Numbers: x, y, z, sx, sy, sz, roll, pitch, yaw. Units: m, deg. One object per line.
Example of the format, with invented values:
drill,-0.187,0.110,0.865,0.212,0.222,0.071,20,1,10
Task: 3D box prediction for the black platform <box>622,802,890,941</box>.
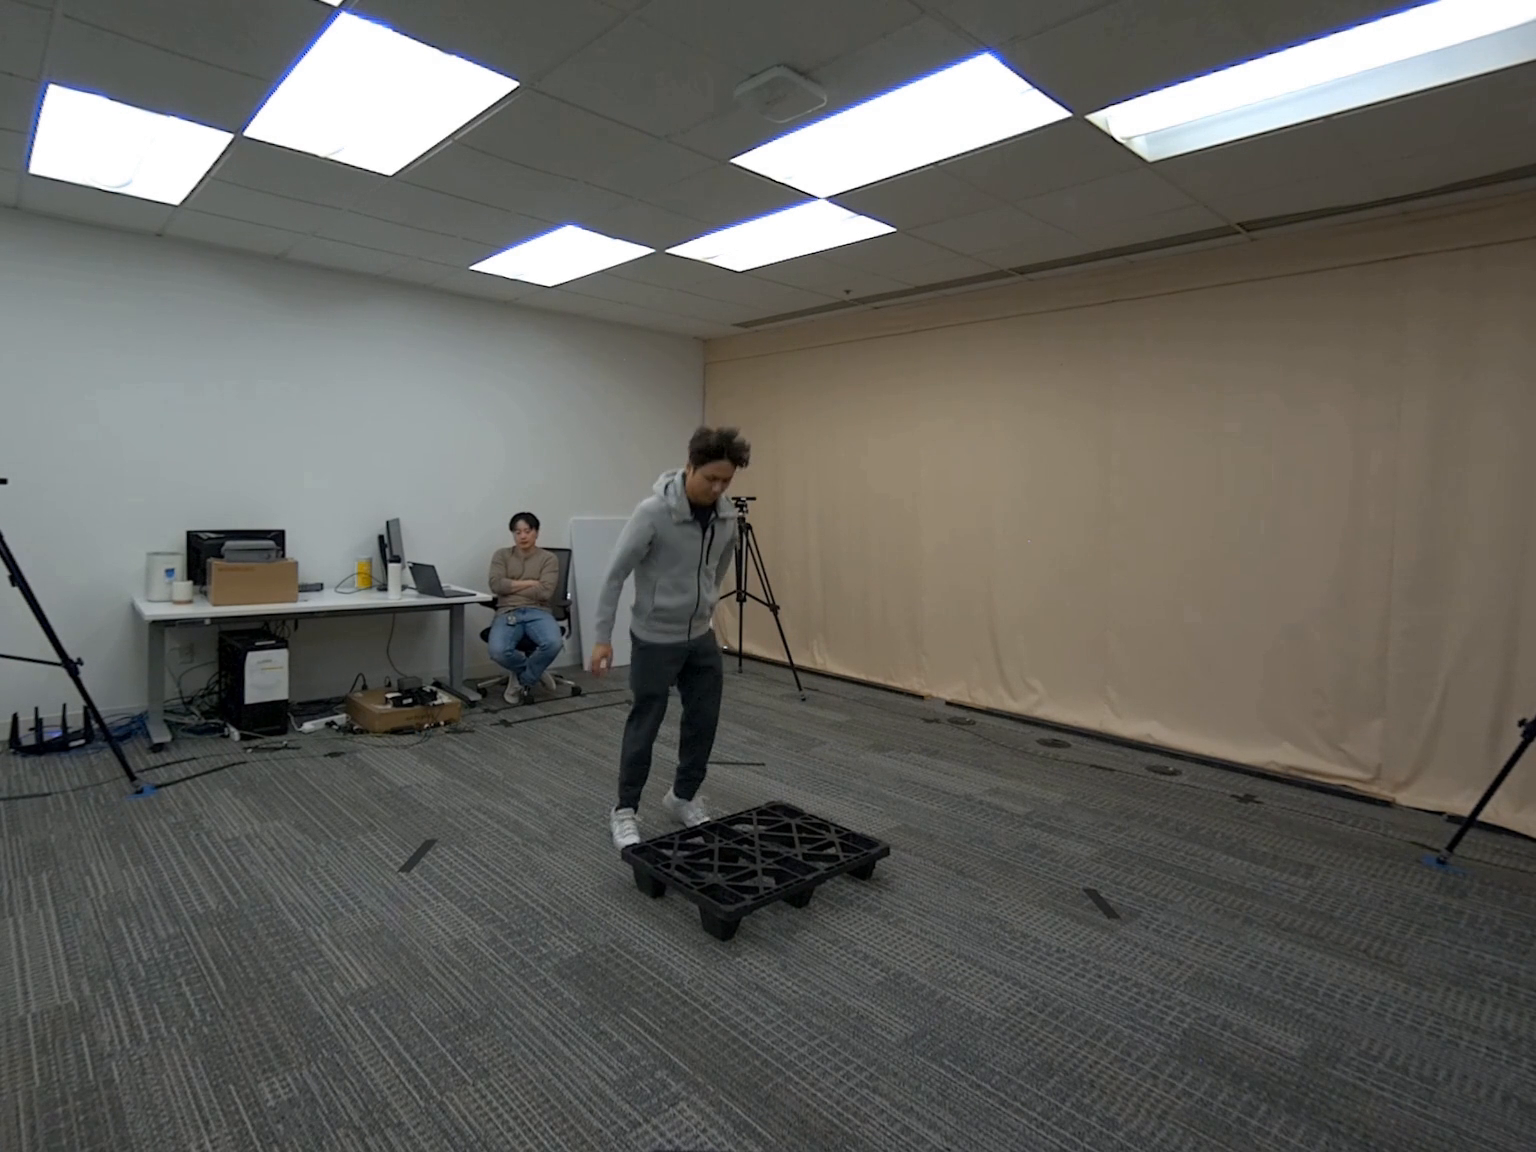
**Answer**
black platform,-0.050,1.050,3.048,0.787,0.143,0.620,-3,6,-43
